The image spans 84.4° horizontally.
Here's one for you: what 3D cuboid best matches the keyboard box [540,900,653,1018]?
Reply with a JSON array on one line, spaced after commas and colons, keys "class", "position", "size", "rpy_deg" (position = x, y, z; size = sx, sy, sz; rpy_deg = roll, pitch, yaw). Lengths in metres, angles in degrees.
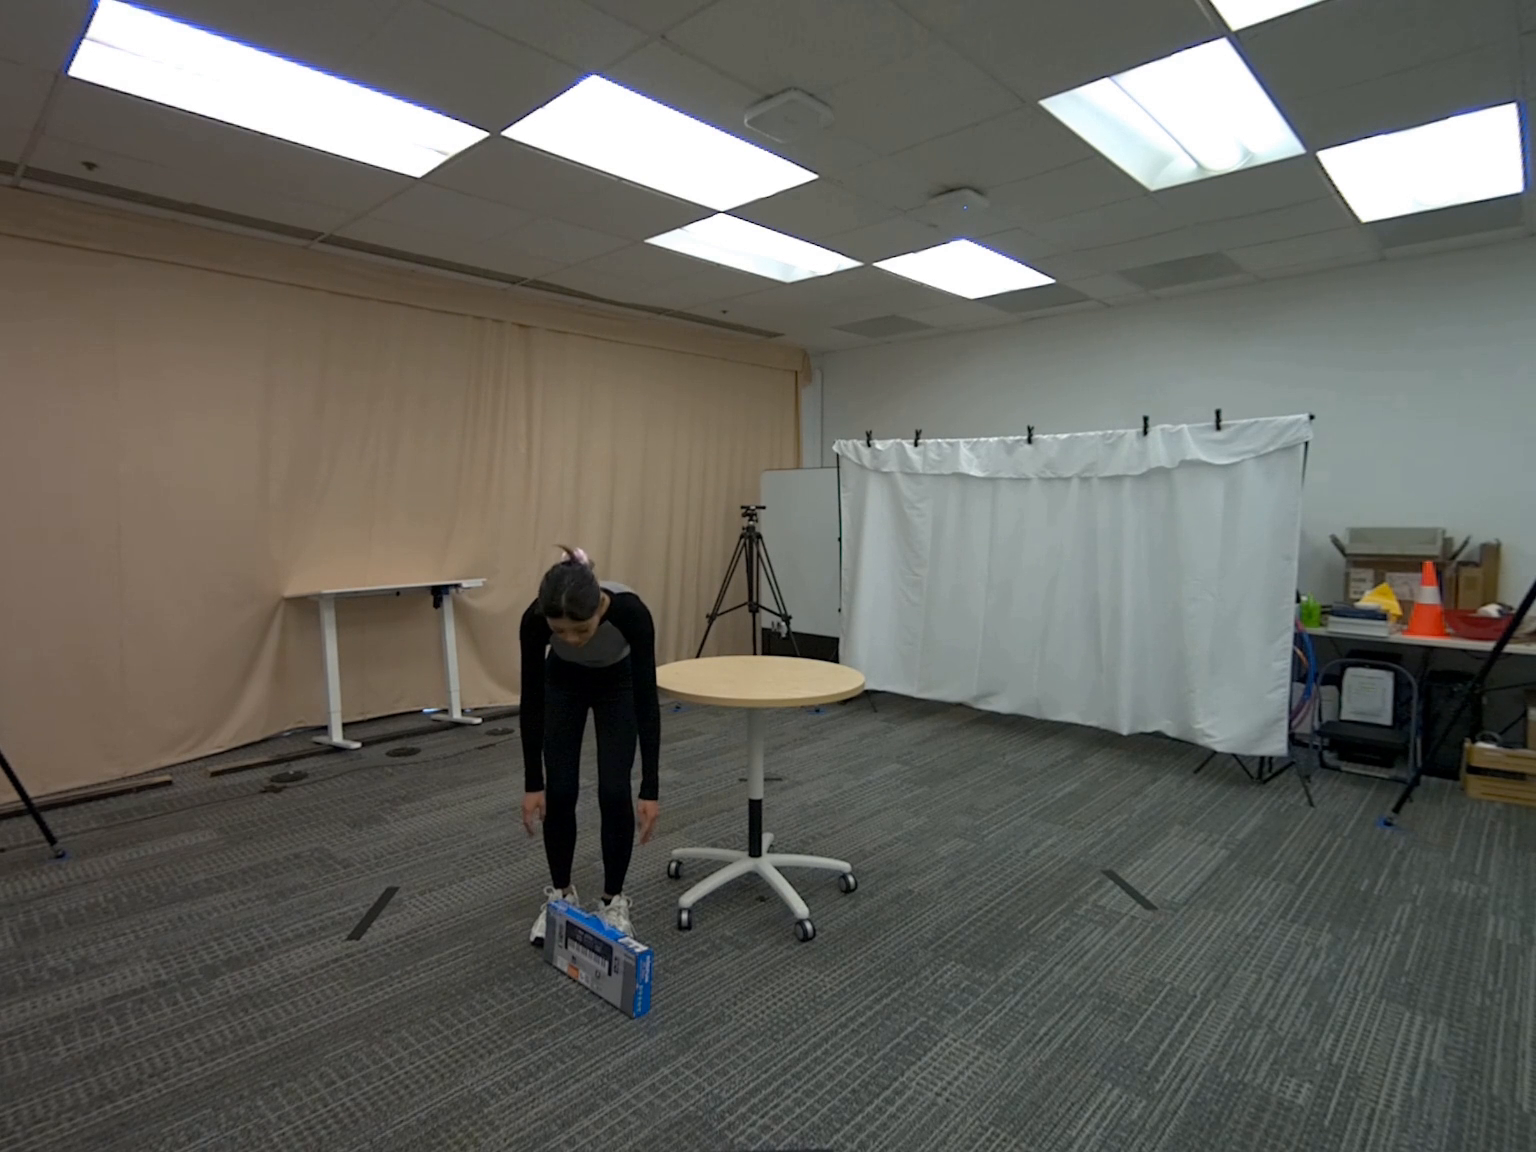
[{"class": "keyboard box", "position": [-0.502, 1.105, 2.451], "size": [0.451, 0.176, 0.057], "rpy_deg": [4, -1, 43]}]
